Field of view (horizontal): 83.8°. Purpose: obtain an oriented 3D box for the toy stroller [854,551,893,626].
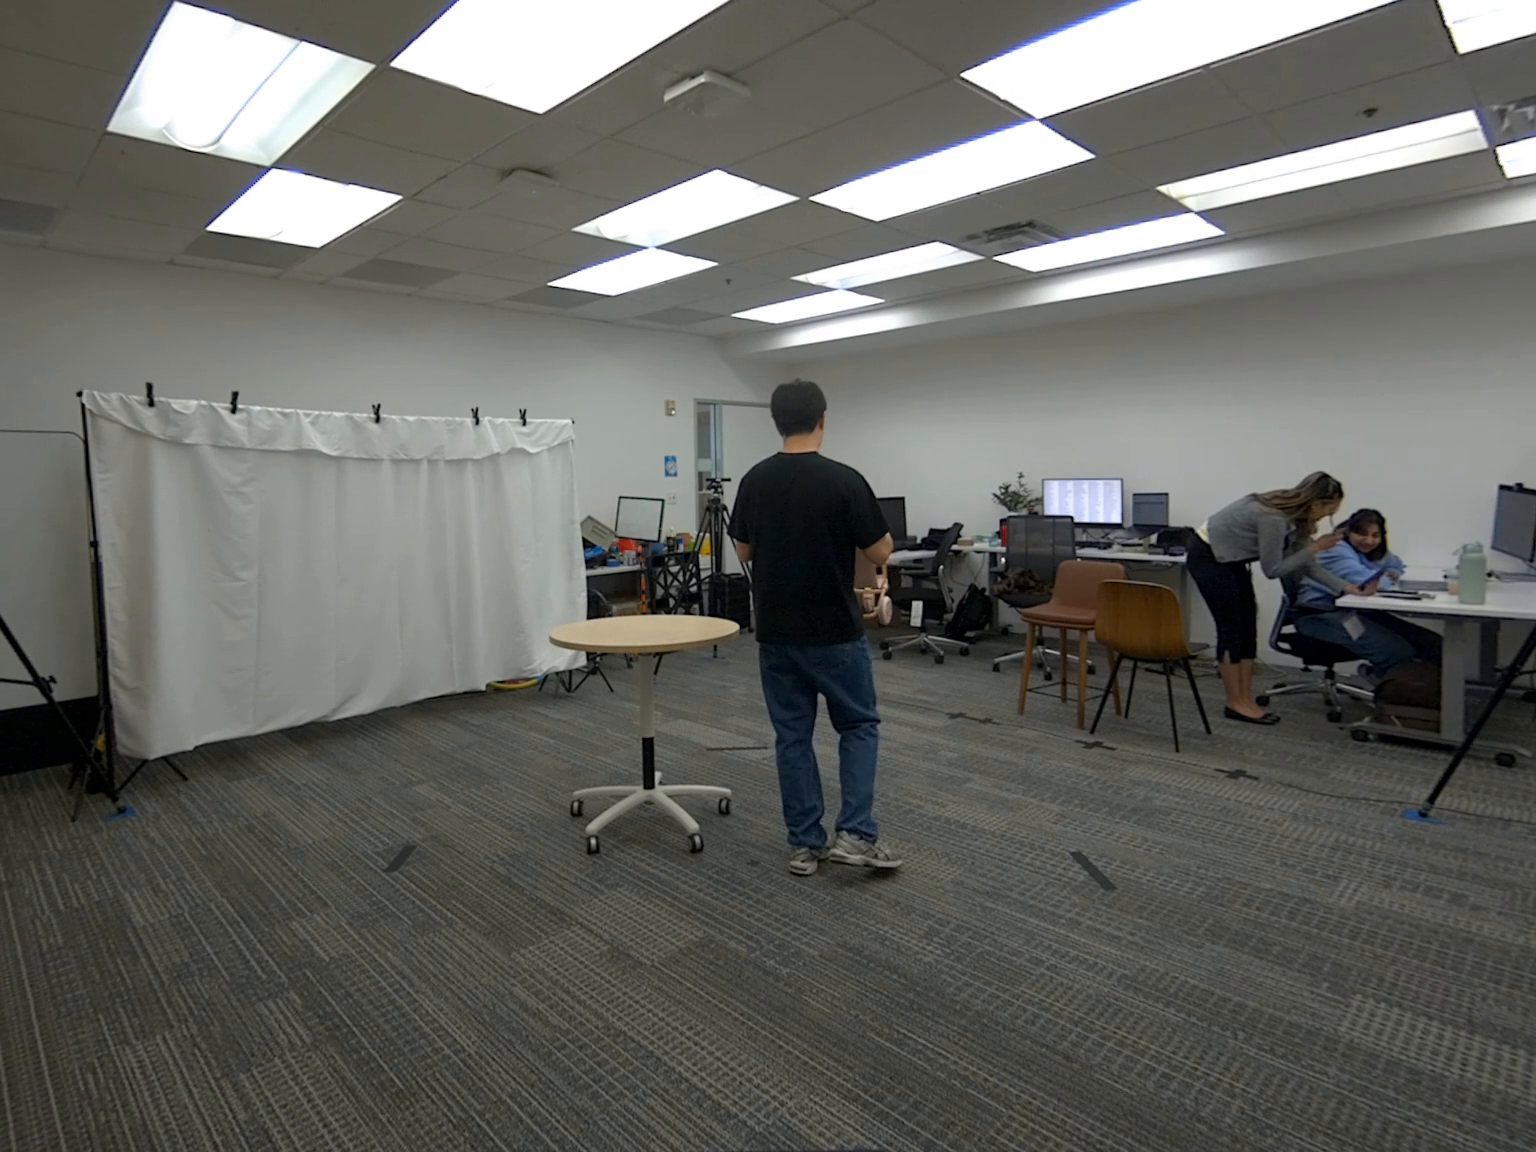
[{"bbox_3d":[0.369,-0.047,3.431,0.288,0.525,0.340,0,21,25],"label":"toy stroller"}]
